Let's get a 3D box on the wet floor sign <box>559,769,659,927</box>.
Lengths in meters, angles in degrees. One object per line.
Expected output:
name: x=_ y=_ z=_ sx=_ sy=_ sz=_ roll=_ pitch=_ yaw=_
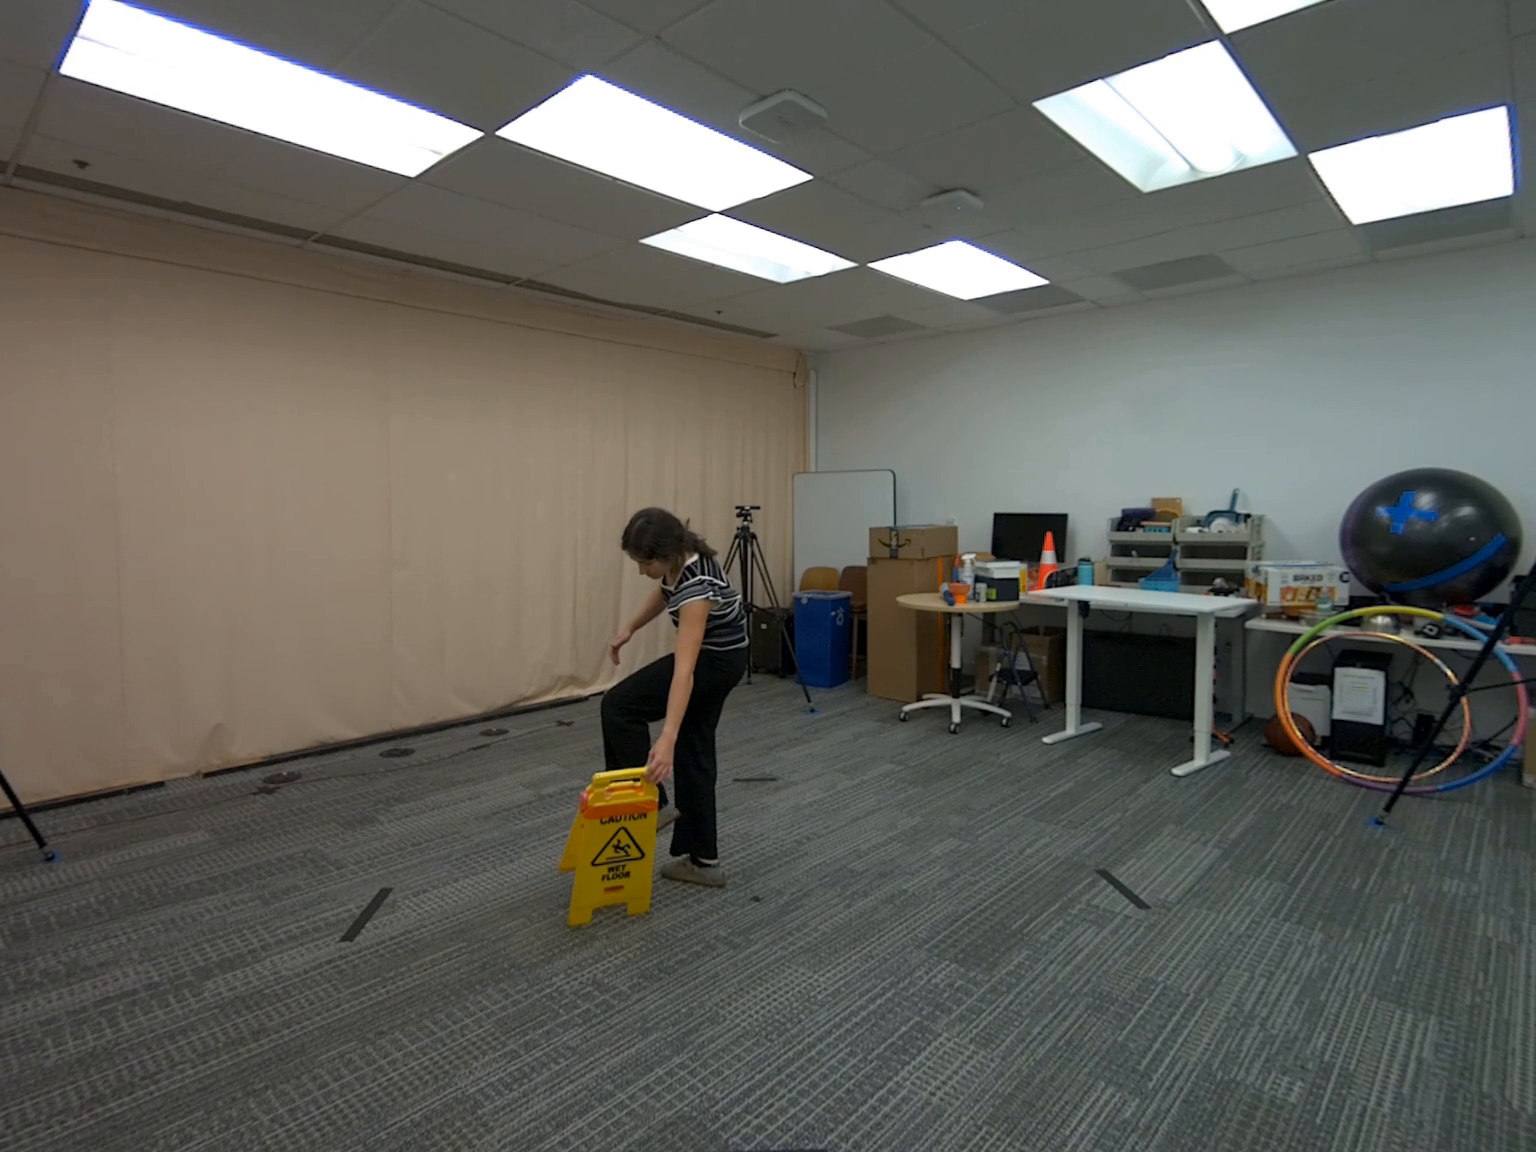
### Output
wet floor sign: x=-0.515 y=0.847 z=2.736 sx=0.276 sy=0.640 sz=0.298 roll=-1 pitch=39 yaw=-21
